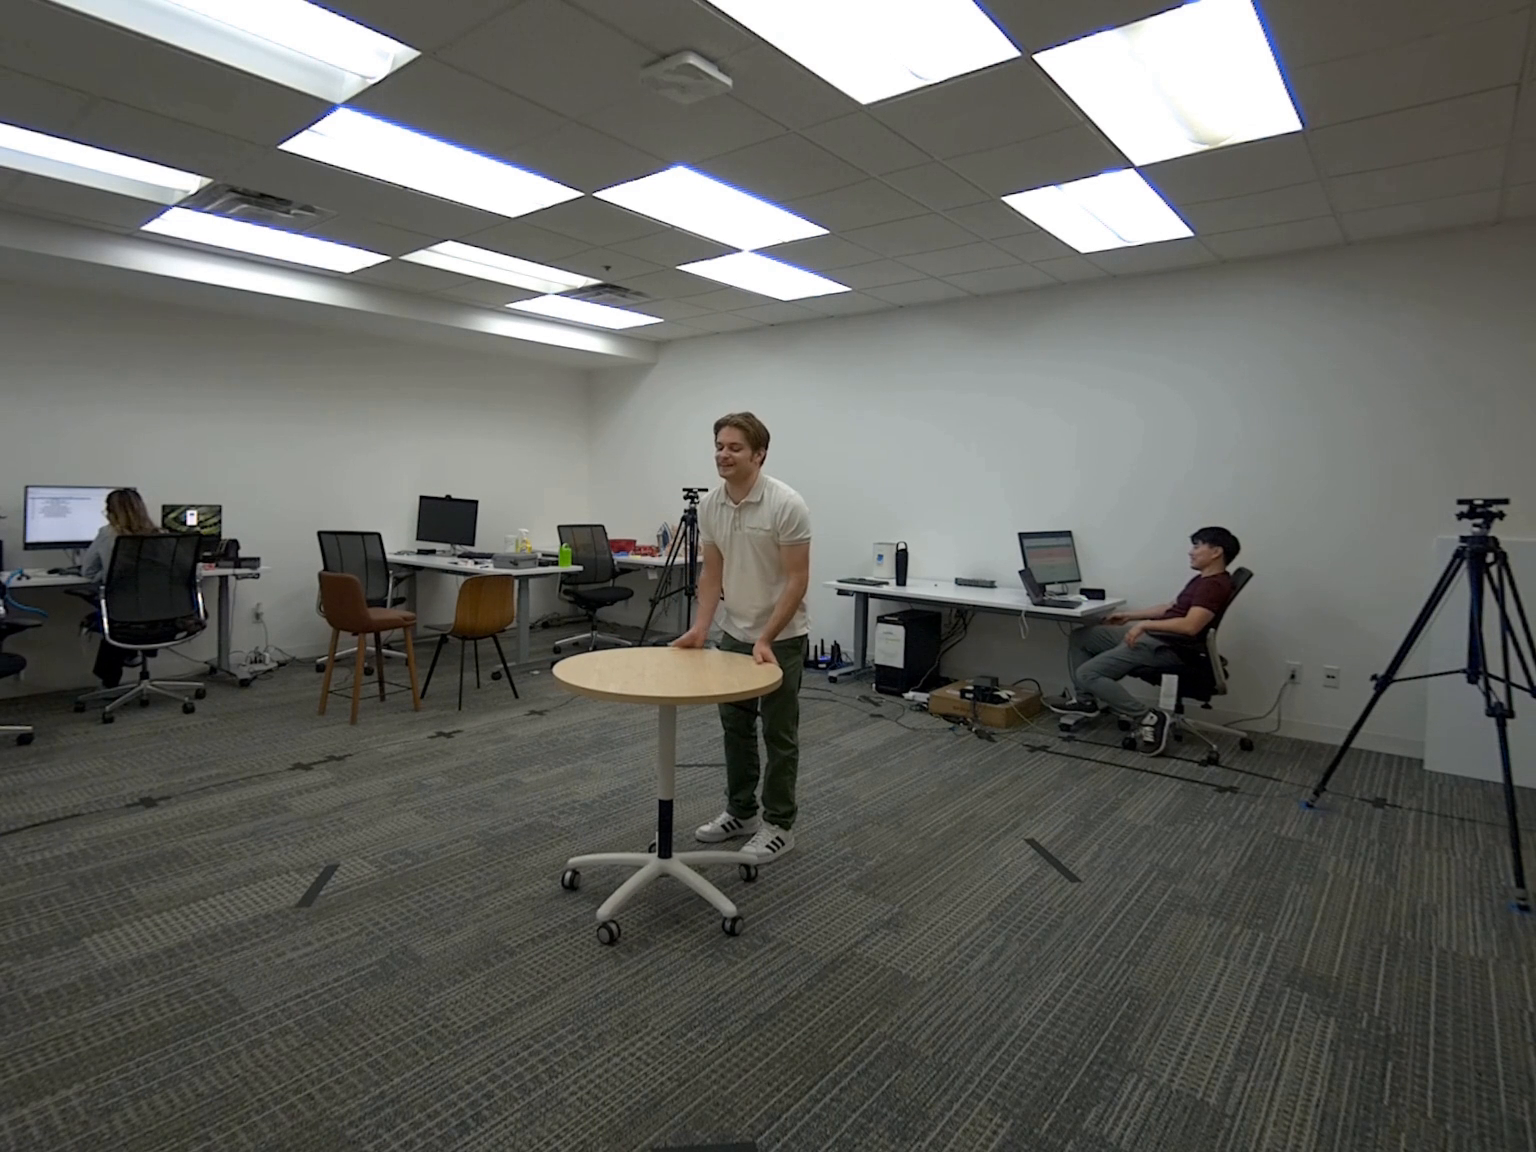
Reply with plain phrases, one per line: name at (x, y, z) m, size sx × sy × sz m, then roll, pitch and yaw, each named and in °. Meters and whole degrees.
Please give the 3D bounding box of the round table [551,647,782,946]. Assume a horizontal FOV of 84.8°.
round table at (-0.358, 0.702, 2.869) m, size 0.763 × 0.791 × 0.768 m, roll 1°, pitch 4°, yaw -2°
